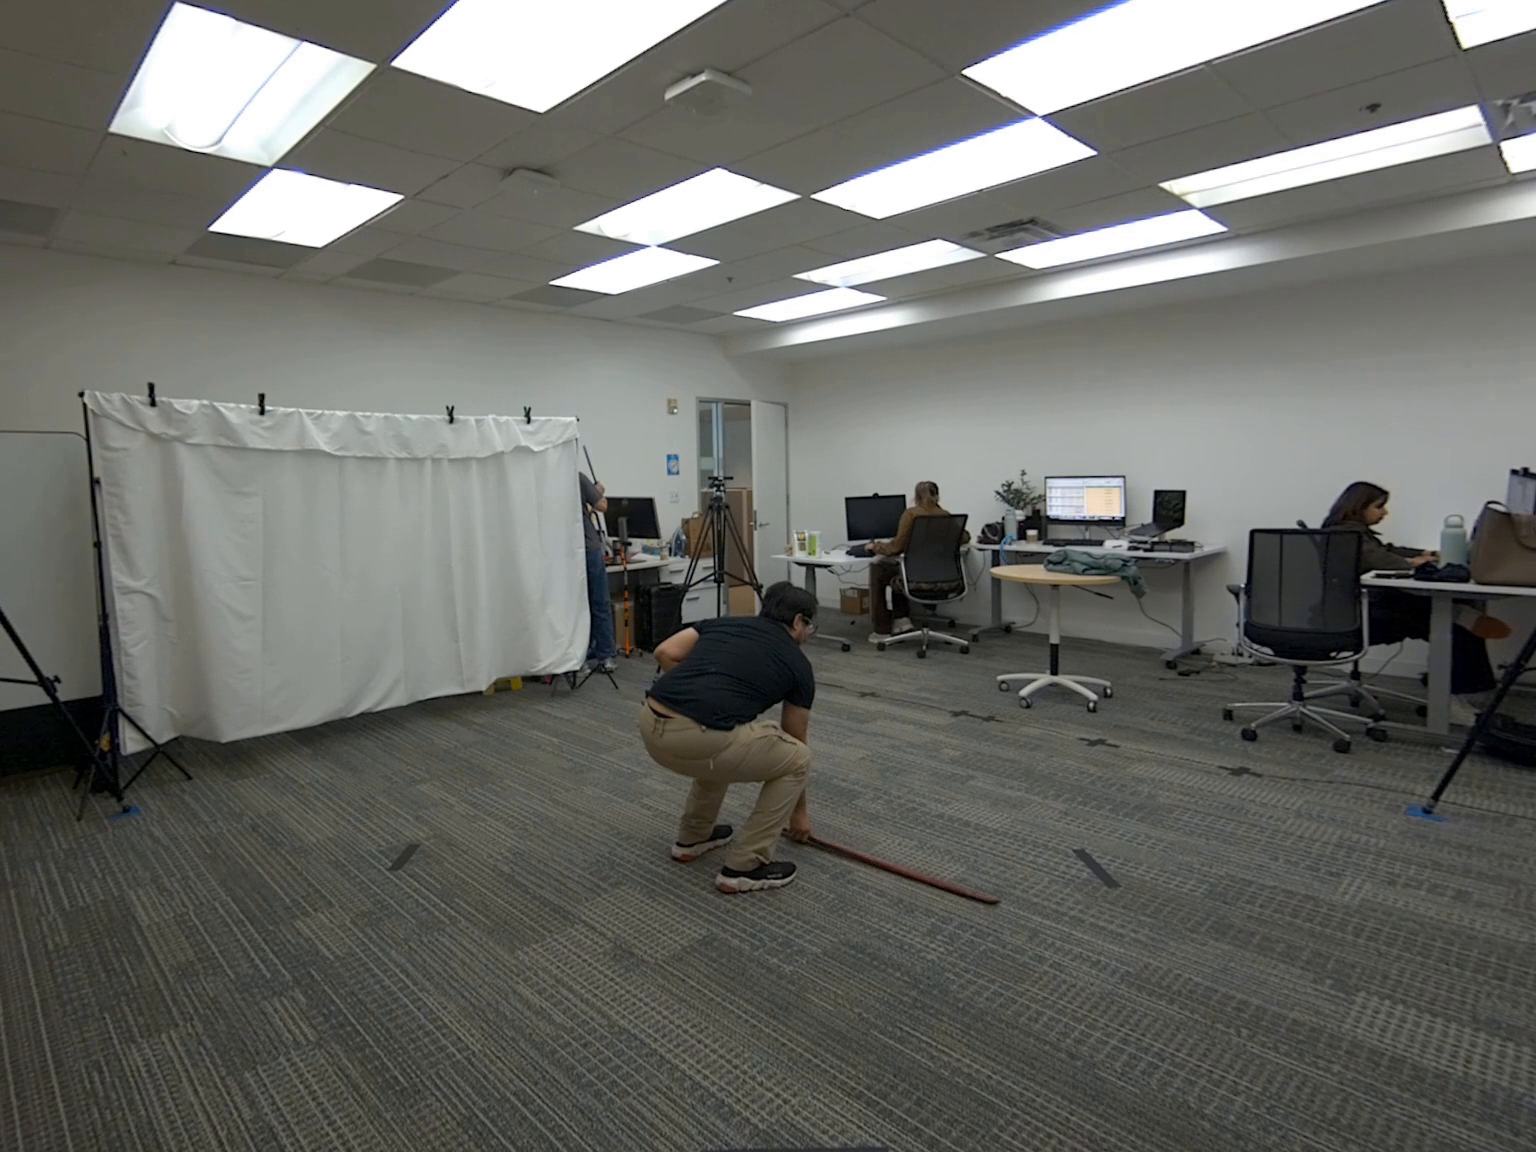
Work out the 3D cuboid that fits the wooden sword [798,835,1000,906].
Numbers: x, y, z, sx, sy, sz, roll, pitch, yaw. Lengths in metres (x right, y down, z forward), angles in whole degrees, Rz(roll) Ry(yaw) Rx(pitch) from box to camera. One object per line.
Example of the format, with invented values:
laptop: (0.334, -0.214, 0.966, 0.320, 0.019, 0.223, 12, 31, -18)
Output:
wooden sword: (0.330, 1.004, 3.099, 1.057, 0.024, 0.050, 6, 19, 41)
